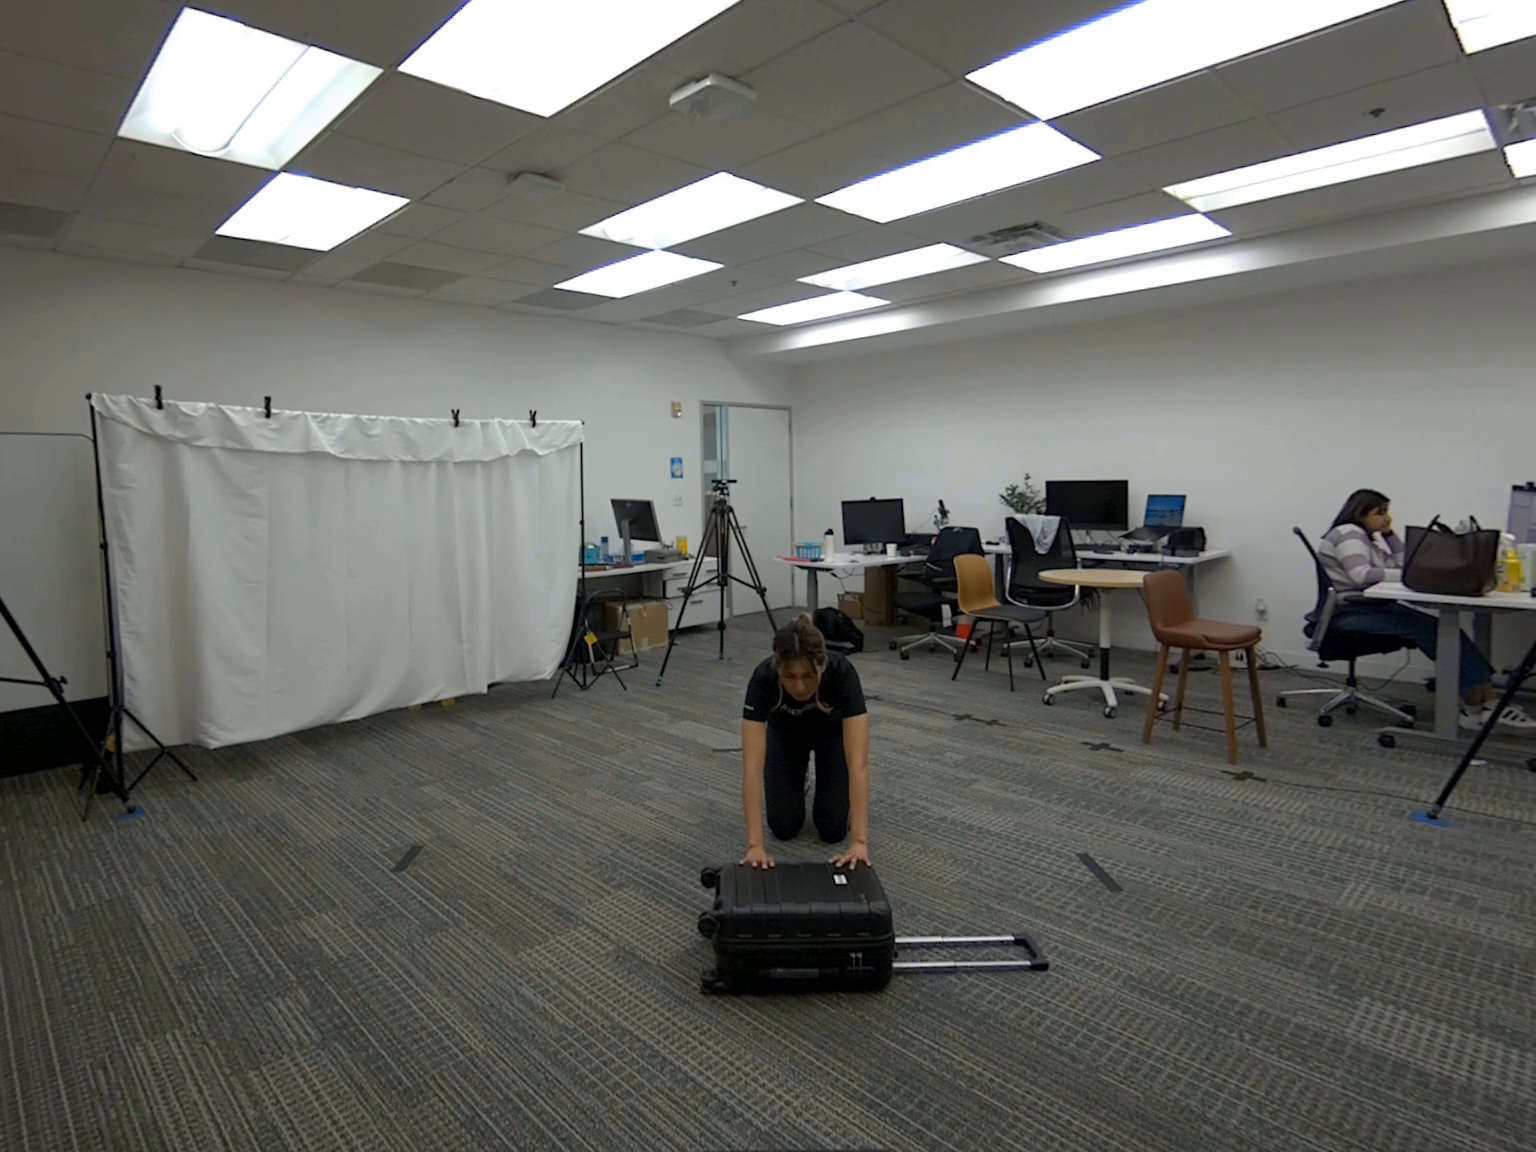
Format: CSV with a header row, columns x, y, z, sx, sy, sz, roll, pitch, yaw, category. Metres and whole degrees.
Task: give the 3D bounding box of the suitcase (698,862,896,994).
x,y,z,sx,sy,sz,roll,pitch,yaw,category
0.289,0.997,2.460,0.978,0.256,0.385,-3,3,0,suitcase
